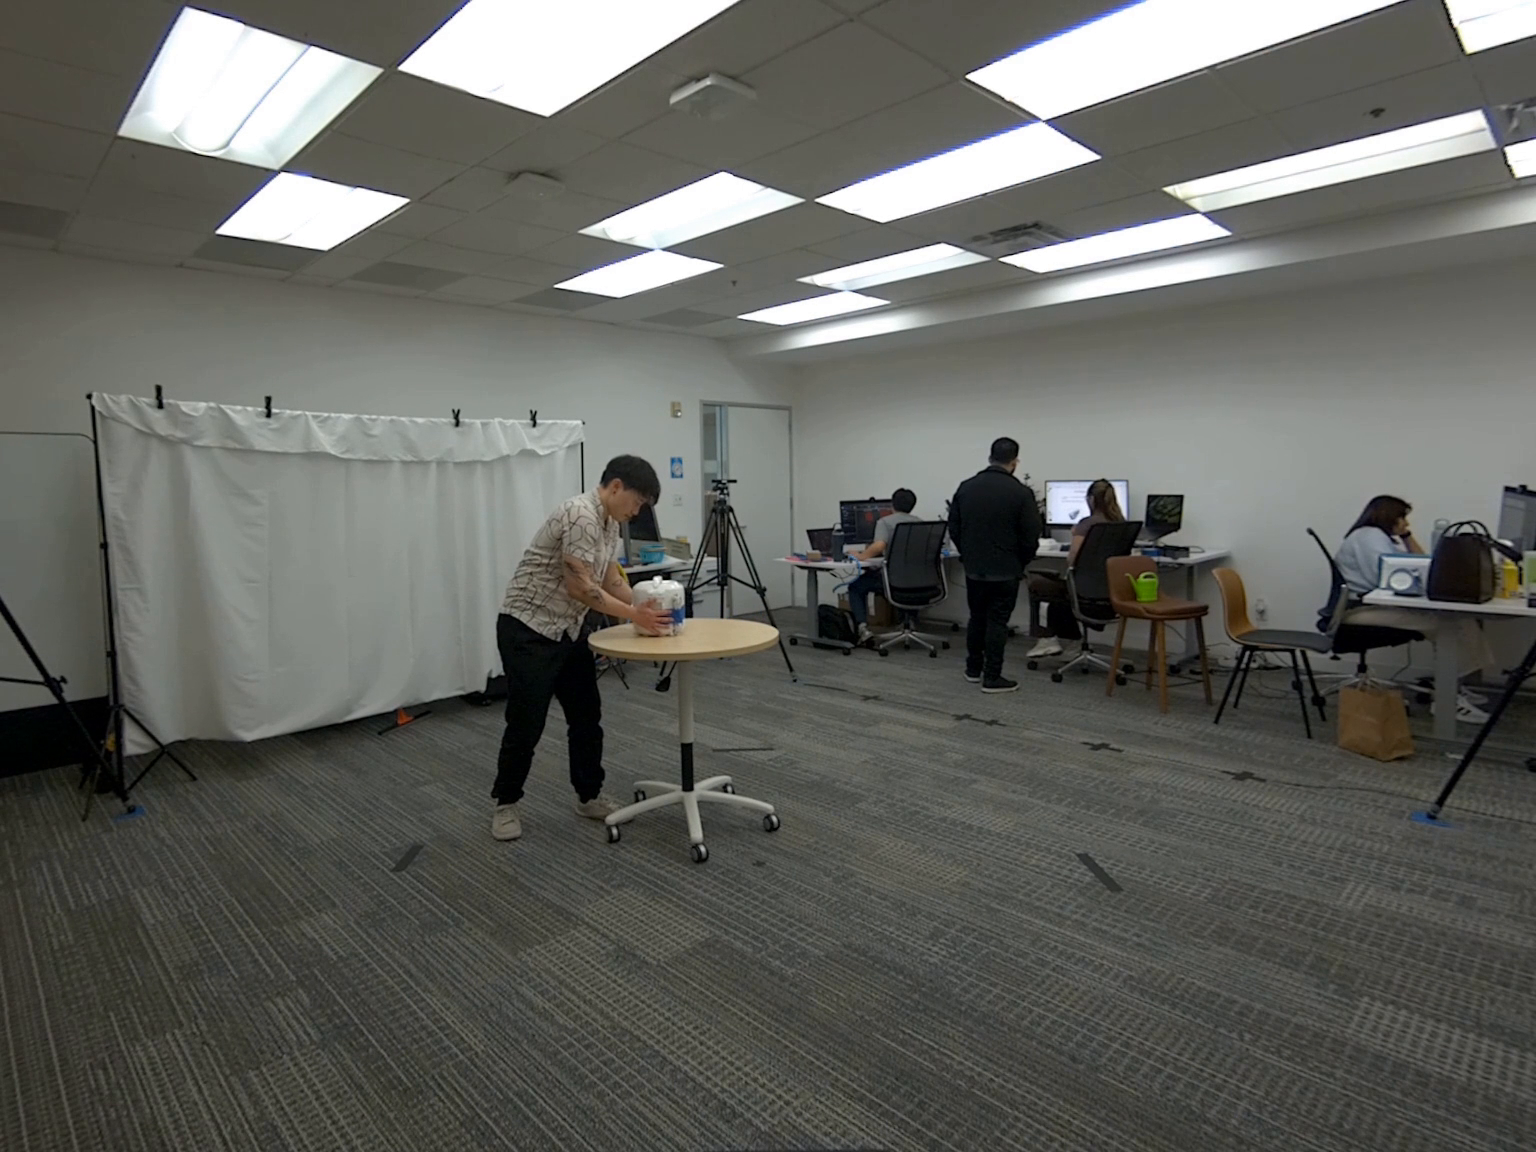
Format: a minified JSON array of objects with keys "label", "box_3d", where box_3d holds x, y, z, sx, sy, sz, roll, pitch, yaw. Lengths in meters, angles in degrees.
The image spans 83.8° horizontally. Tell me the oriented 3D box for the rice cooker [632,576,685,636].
[{"label":"rice cooker","box_3d":[-0.448,0.118,3.470,0.218,0.232,0.221,-1,3,0]}]
